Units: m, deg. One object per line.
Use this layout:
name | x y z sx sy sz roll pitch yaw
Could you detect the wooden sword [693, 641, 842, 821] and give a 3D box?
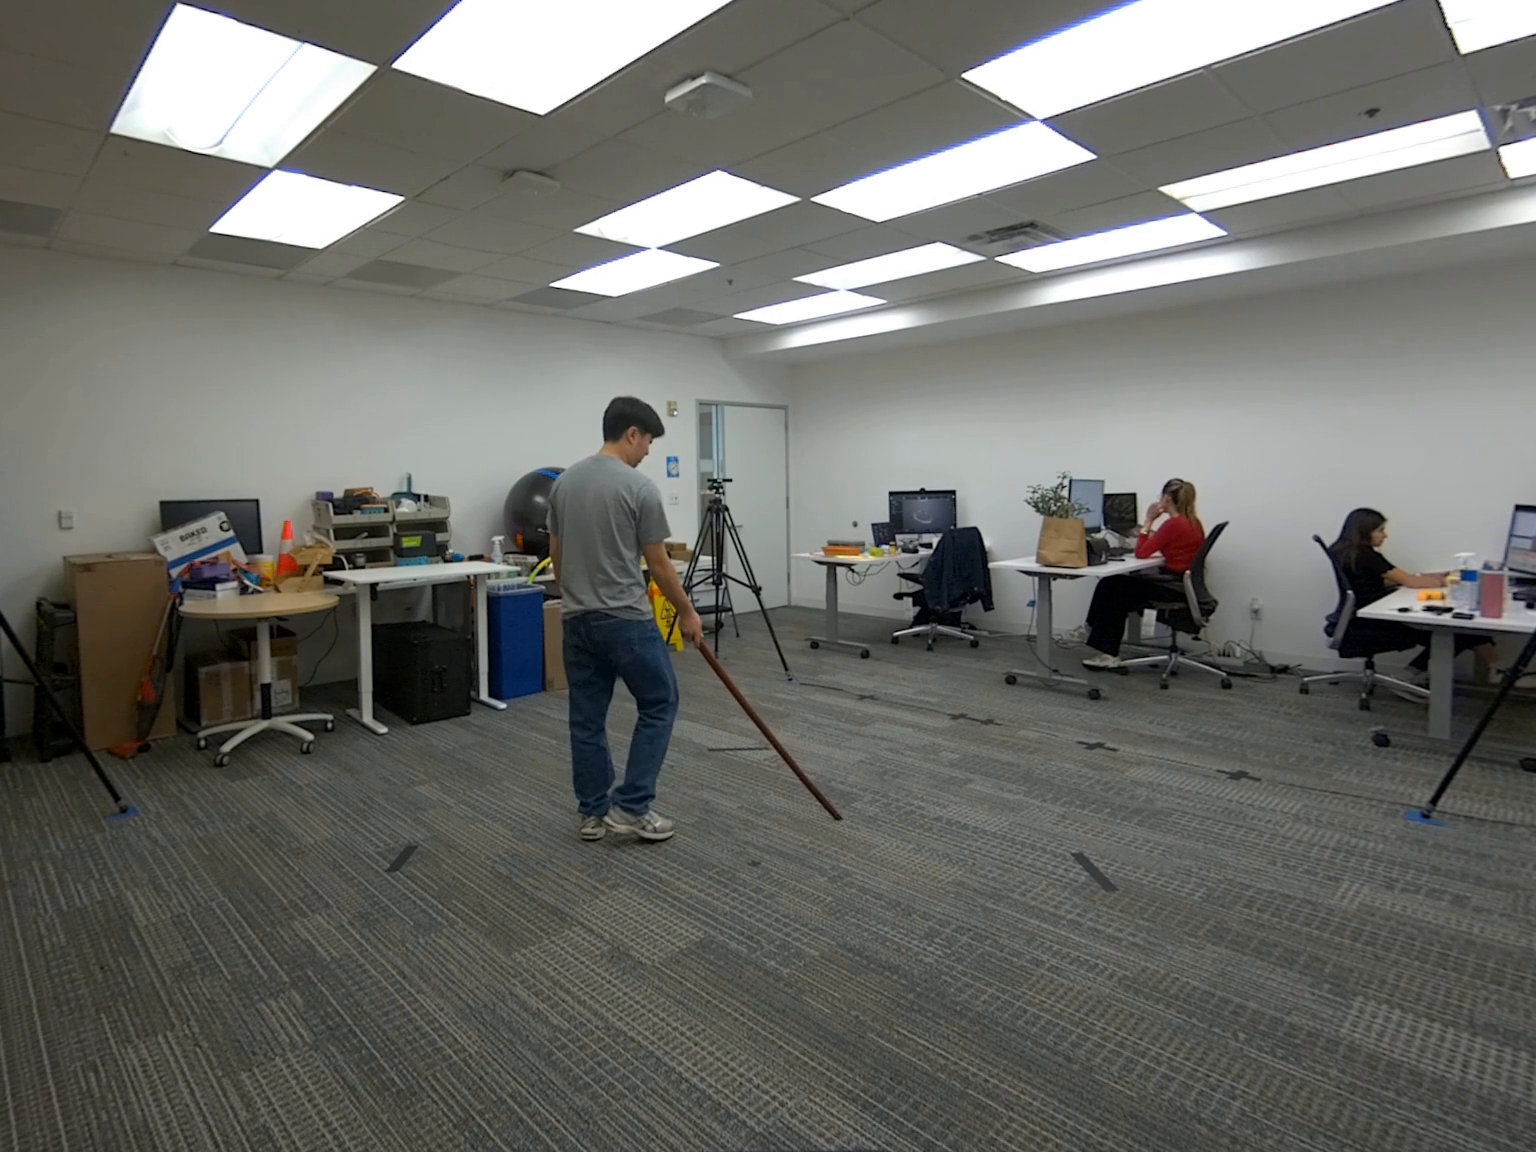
wooden sword | -0.025 0.596 3.487 0.024 1.020 0.051 -35 4 36
